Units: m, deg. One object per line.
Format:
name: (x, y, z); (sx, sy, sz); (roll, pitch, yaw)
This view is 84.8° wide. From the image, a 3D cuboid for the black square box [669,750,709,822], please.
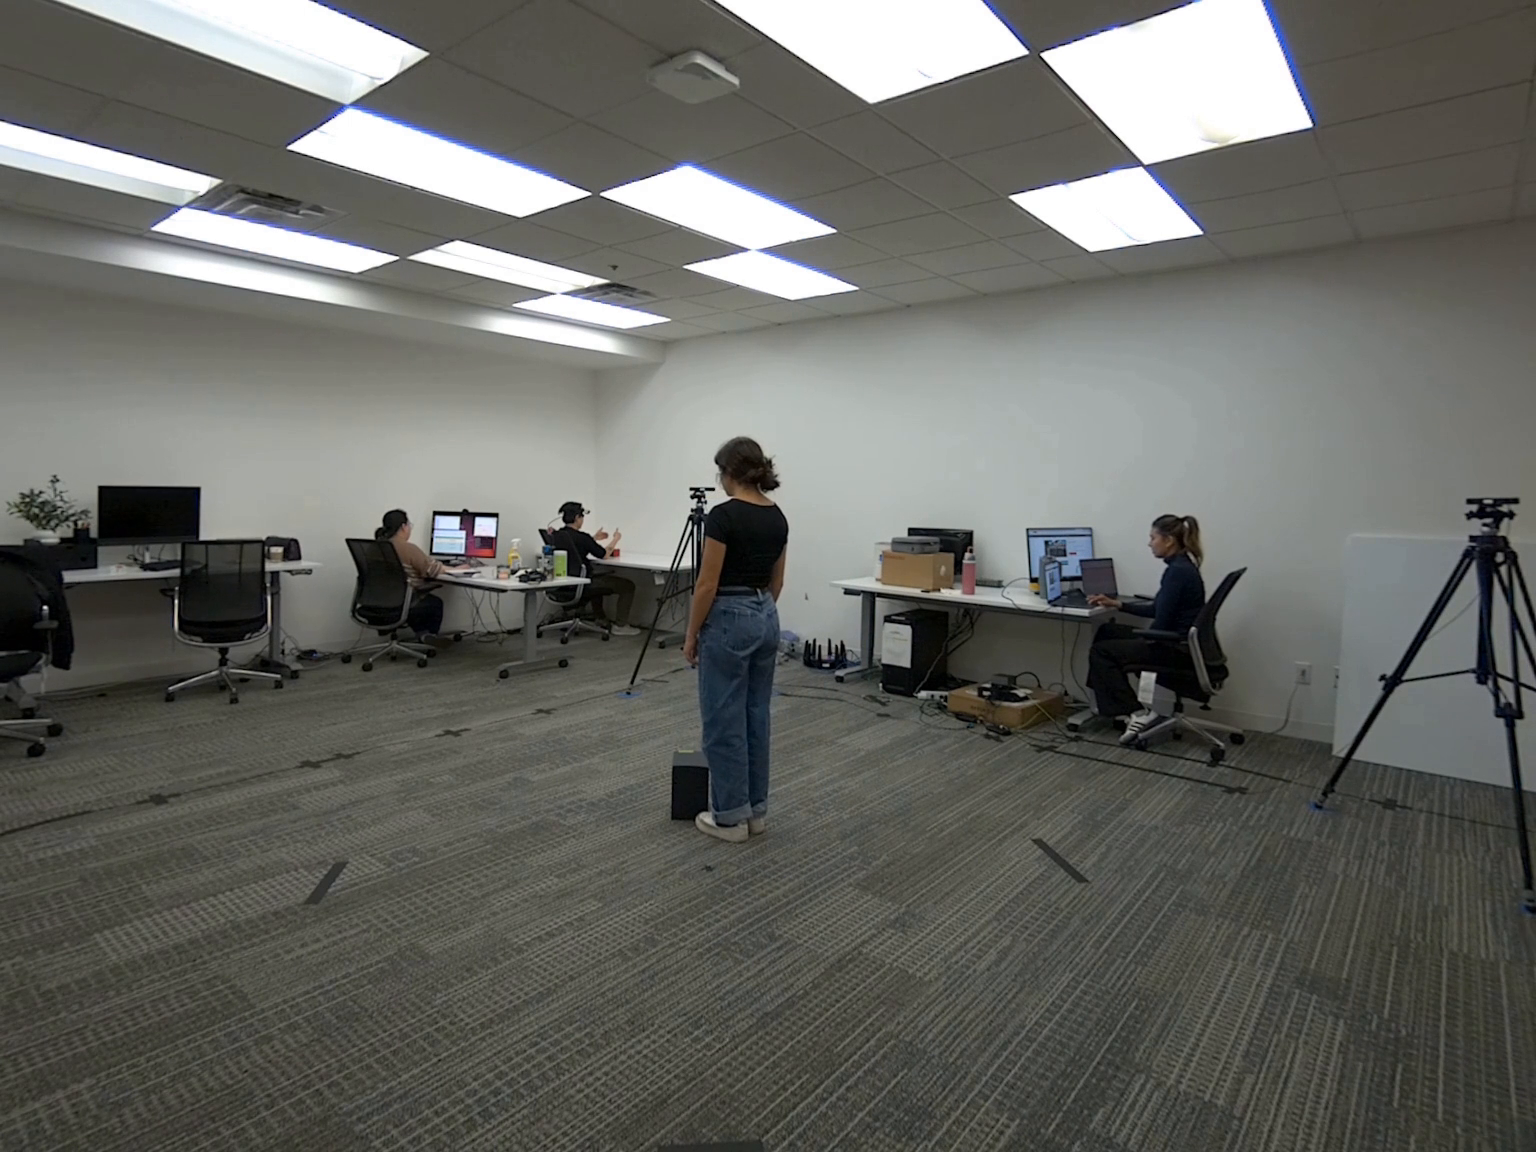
black square box: (-0.345, 0.888, 3.661); (0.155, 0.227, 0.218); (1, 4, -4)
